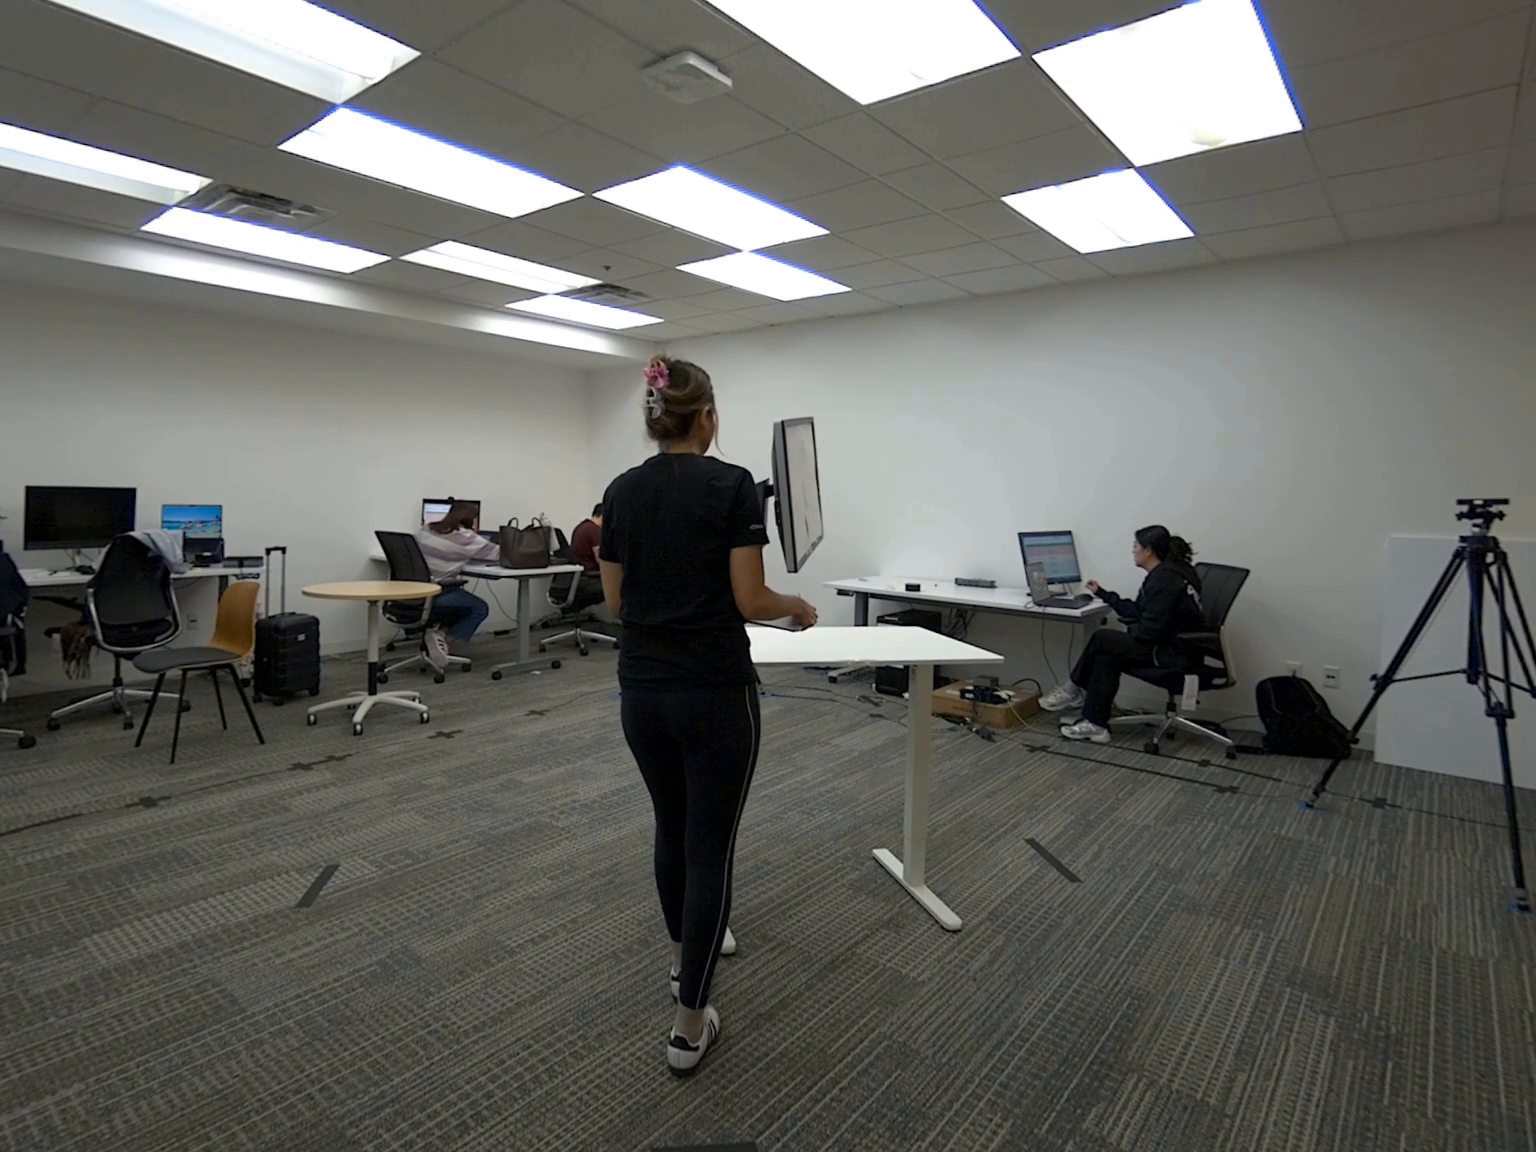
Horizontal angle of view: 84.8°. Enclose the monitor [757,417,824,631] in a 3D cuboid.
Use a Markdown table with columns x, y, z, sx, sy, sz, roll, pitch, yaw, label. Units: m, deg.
| x | y | z | sx | sy | sz | roll | pitch | yaw | label |
| --- | --- | --- | --- | --- | --- | --- | --- | --- | --- |
| 0.036 | -0.151 | 2.283 | 0.189 | 0.518 | 0.538 | 8 | 11 | 7 | monitor |
